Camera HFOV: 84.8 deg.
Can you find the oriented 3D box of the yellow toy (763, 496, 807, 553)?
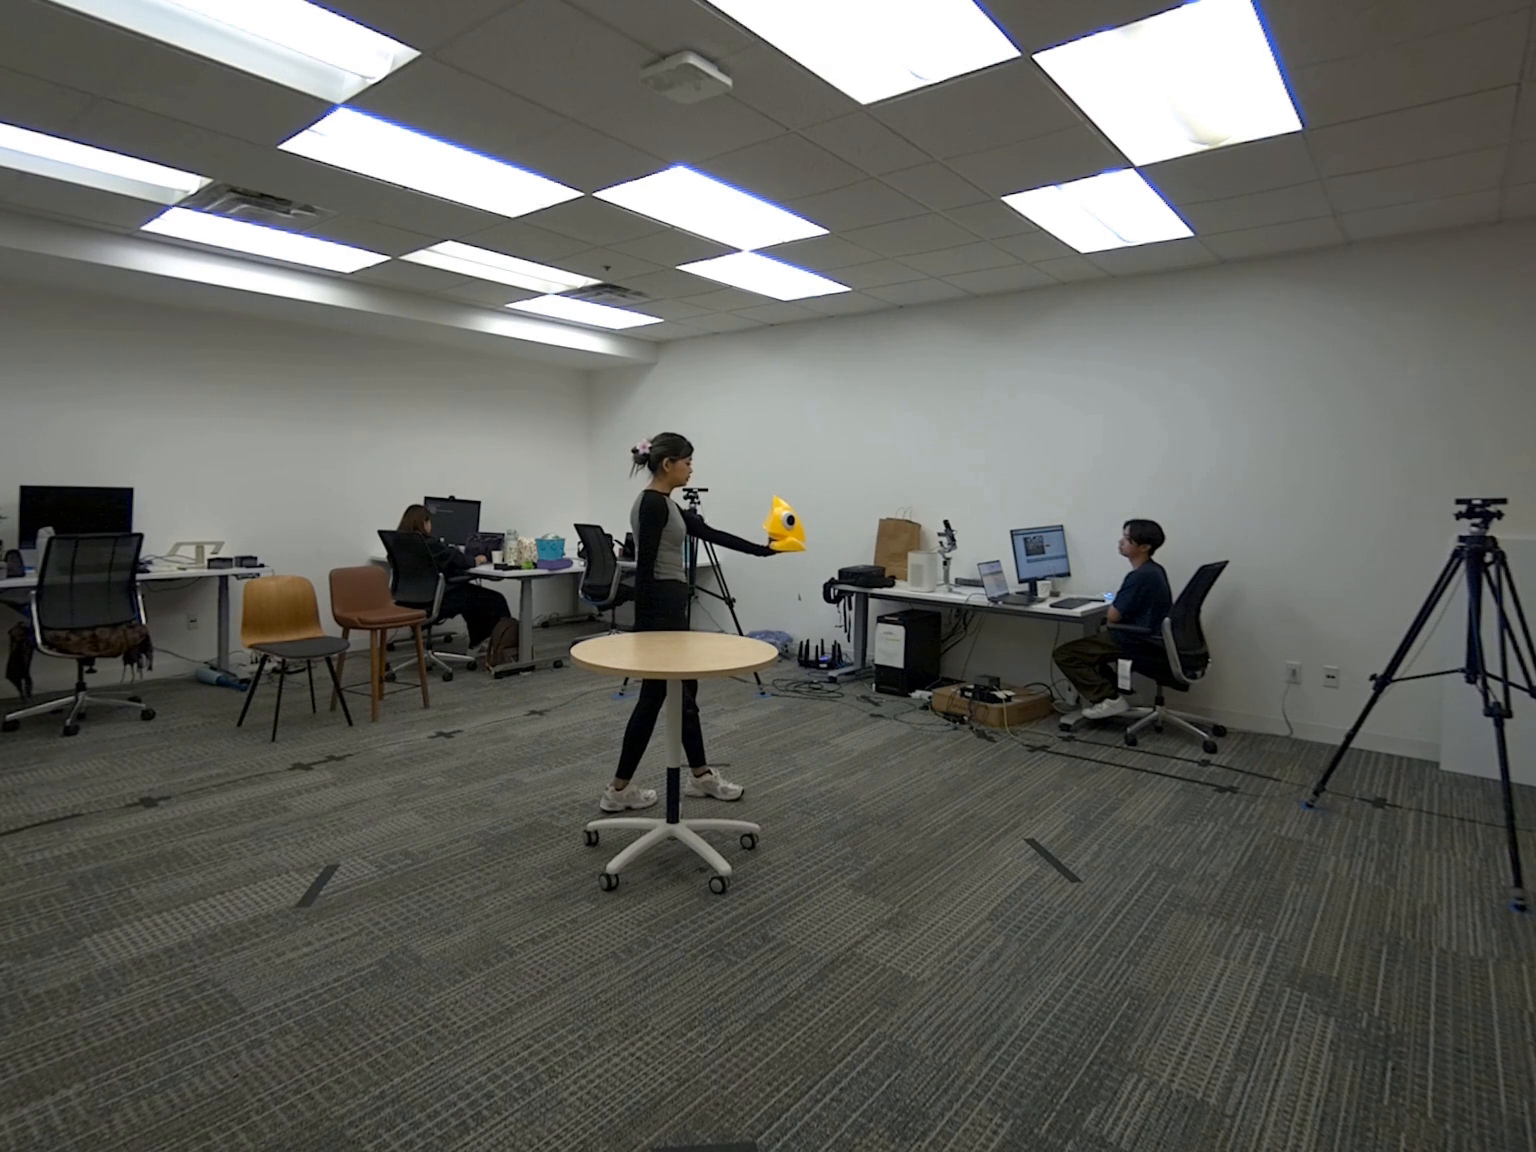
[{"bbox_3d":[0.070,-0.247,3.770,0.192,0.229,0.208,1,9,-7],"label":"yellow toy"}]
